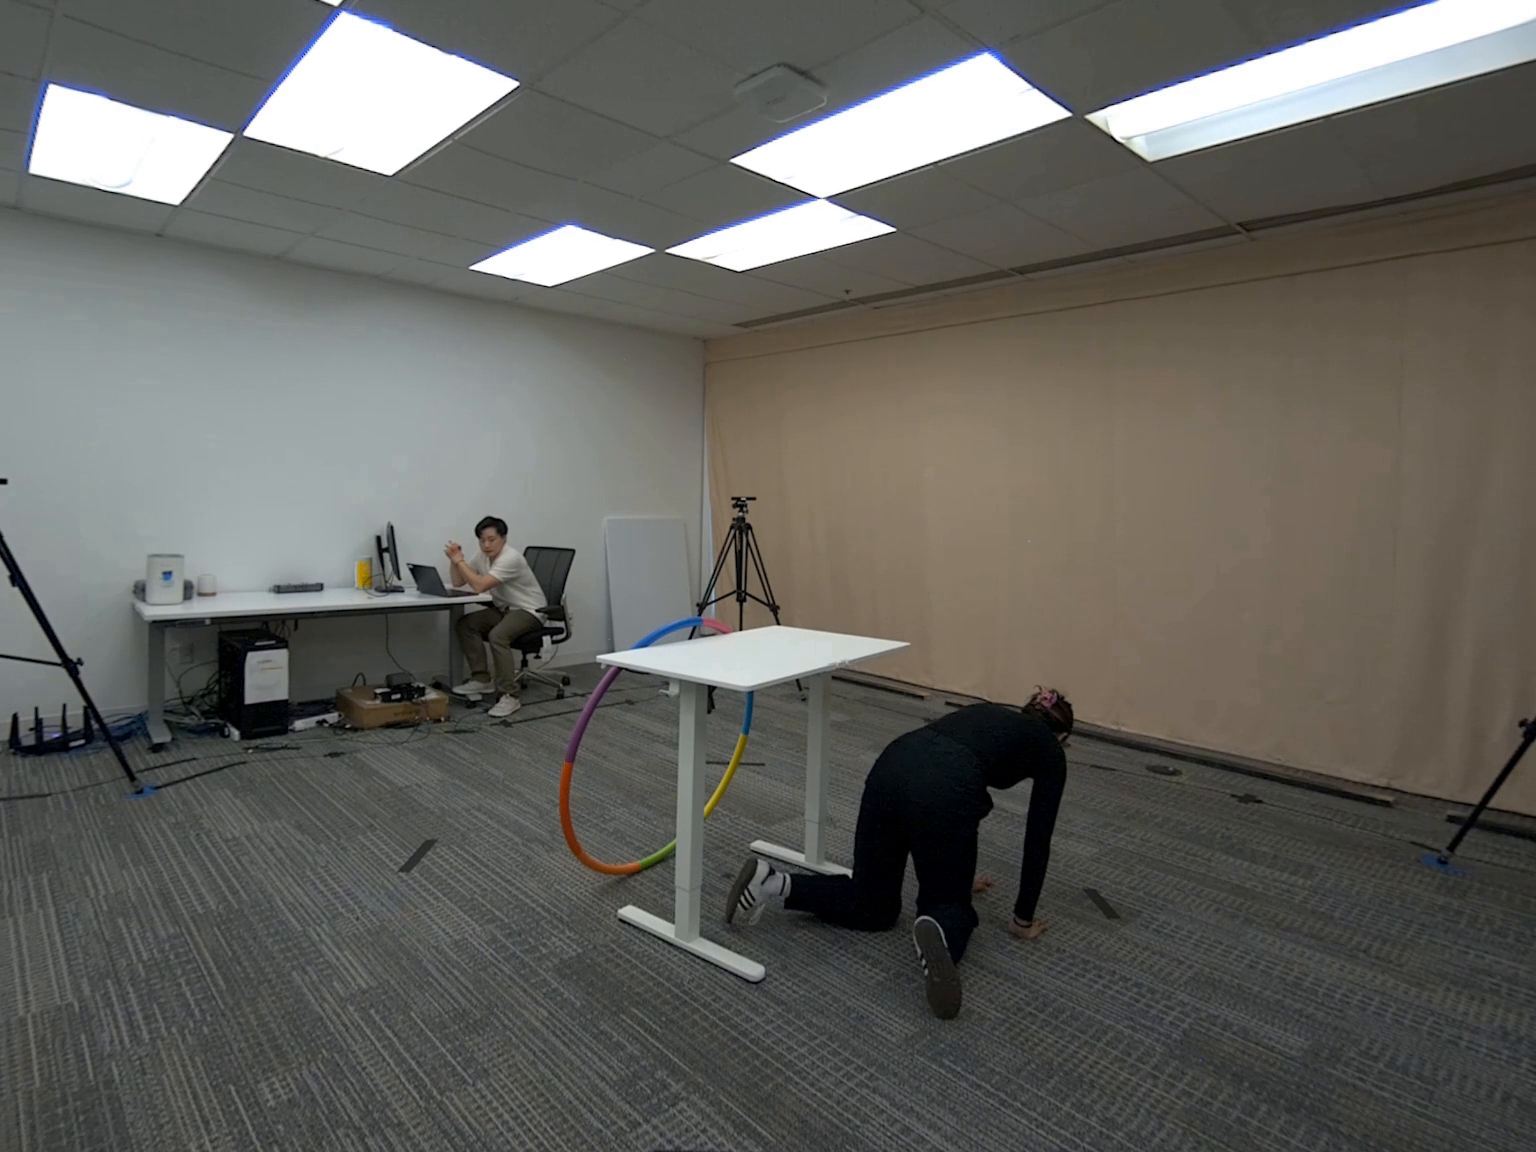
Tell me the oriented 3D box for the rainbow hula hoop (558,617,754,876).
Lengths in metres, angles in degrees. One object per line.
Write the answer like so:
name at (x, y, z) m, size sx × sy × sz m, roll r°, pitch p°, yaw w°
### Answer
rainbow hula hoop at (-0.372, 0.620, 3.088) m, size 0.036 × 0.972 × 0.957 m, roll 18°, pitch 13°, yaw 34°
